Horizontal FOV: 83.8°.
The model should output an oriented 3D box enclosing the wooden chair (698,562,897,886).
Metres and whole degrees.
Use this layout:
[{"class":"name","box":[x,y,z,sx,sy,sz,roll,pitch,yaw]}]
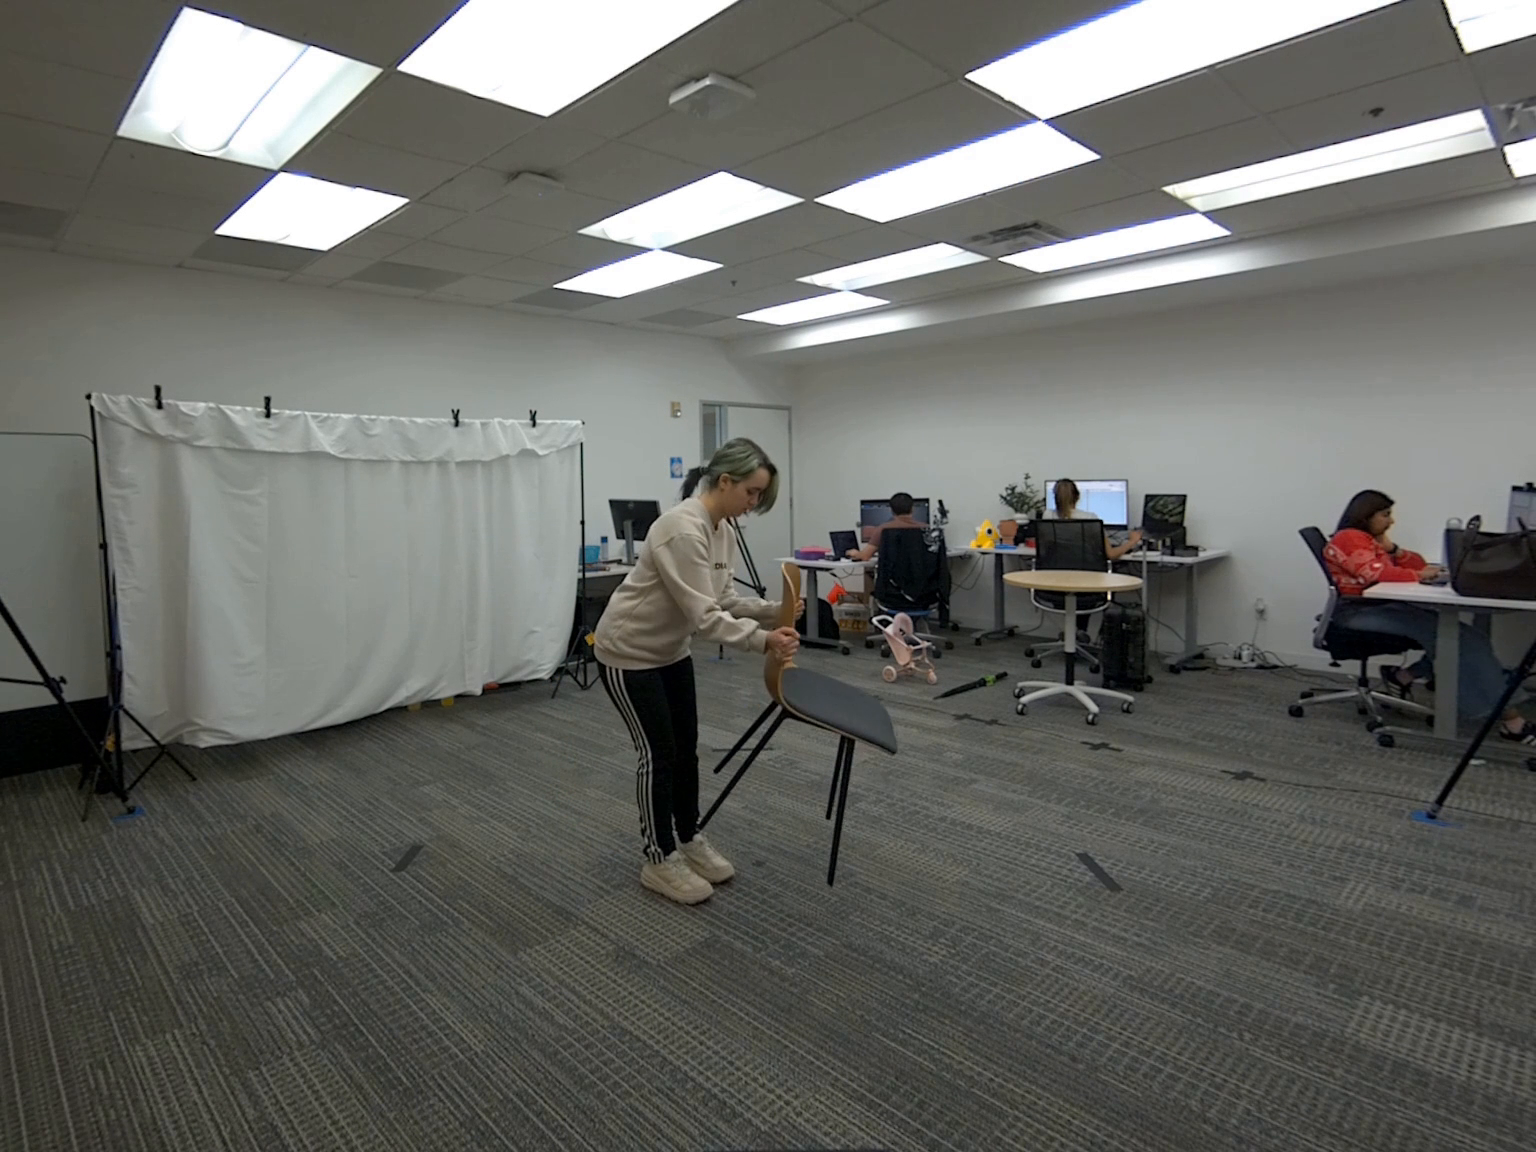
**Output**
[{"class":"wooden chair","box":[0.165,0.453,2.801,0.526,0.872,0.479,17,9,3]}]
